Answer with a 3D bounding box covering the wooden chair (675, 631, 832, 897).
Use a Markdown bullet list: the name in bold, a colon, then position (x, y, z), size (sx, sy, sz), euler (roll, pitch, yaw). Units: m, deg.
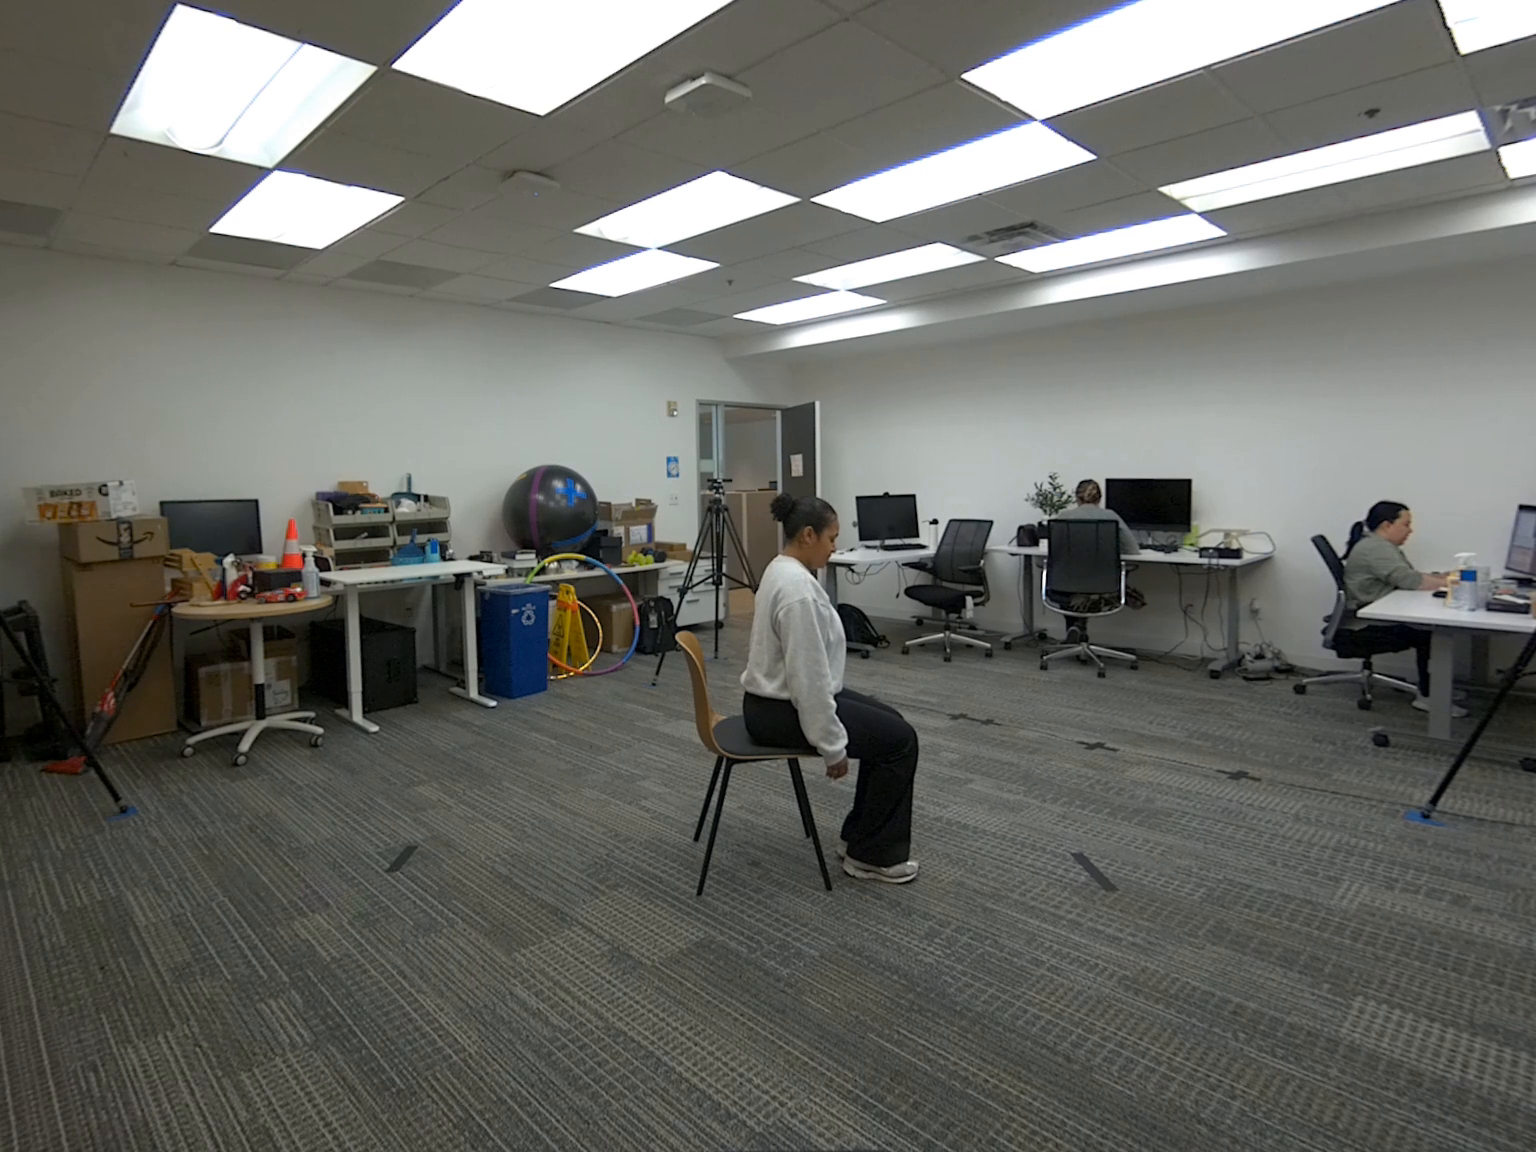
- **wooden chair**: position (-0.032, 0.622, 3.070), size (0.521, 0.874, 0.482), euler (-5, 4, -5)
